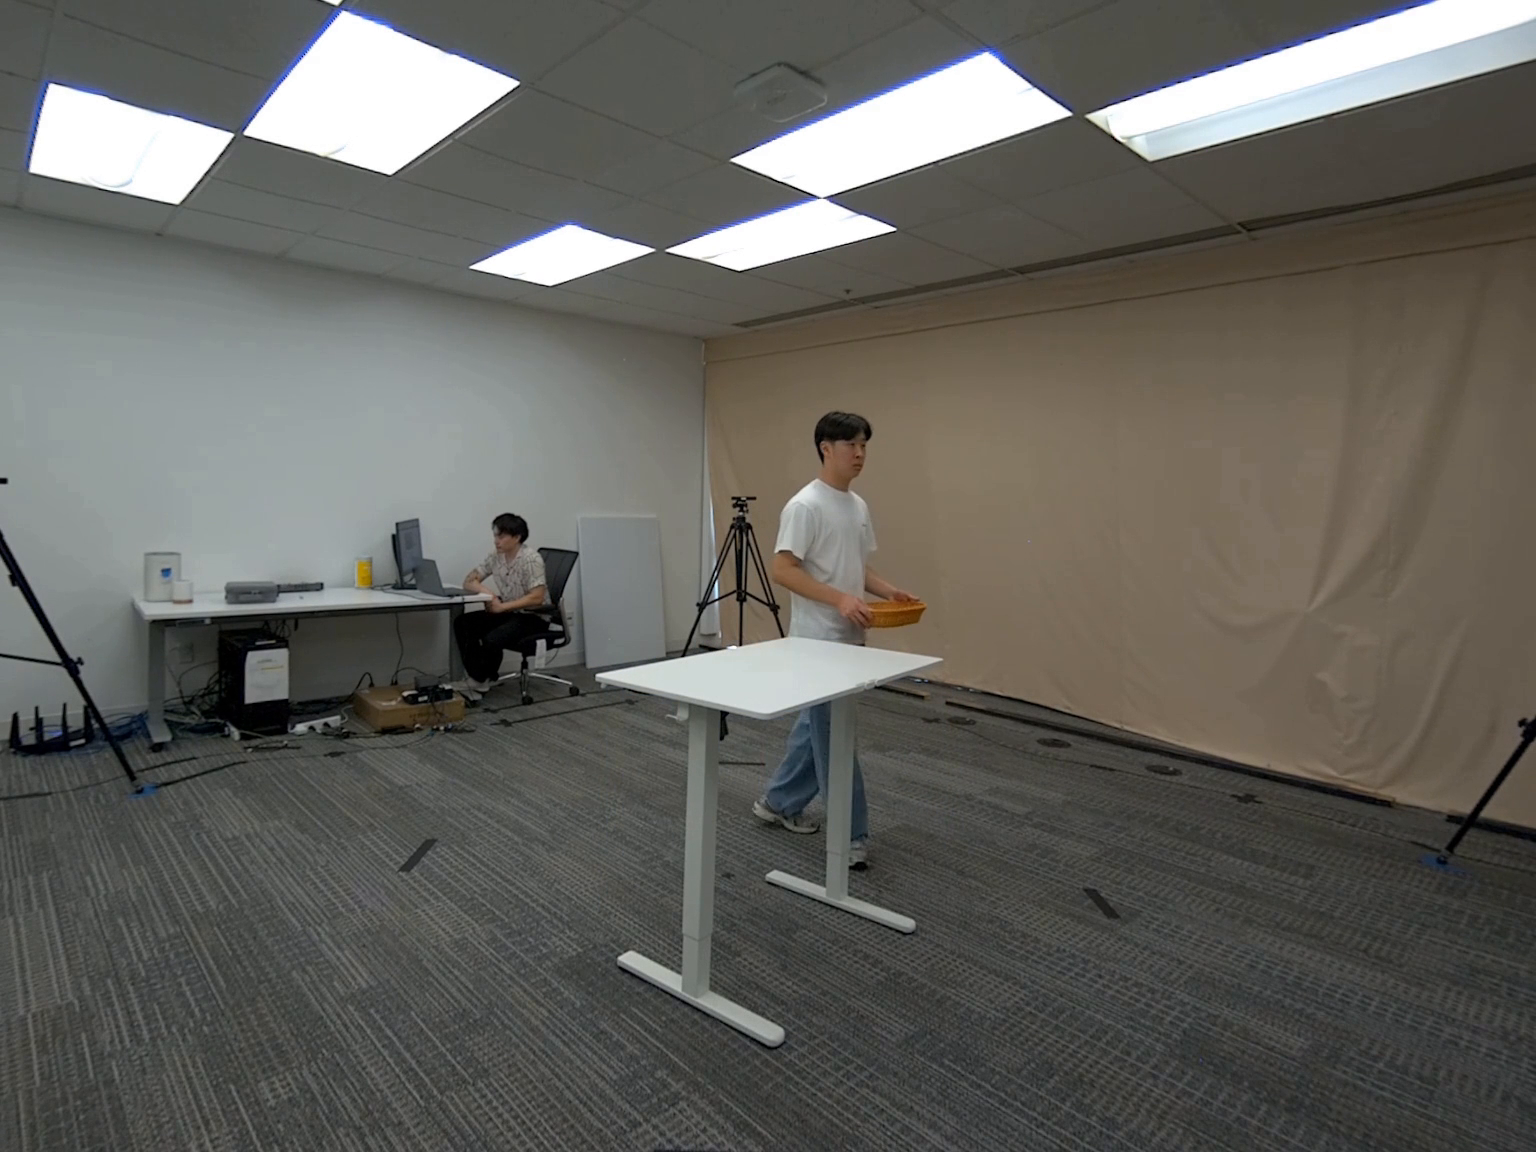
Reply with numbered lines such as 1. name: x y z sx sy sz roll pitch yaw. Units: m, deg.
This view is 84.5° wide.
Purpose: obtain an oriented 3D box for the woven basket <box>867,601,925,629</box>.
1. woven basket: 0.412 0.141 3.212 0.343 0.073 0.258 -4 6 -37
